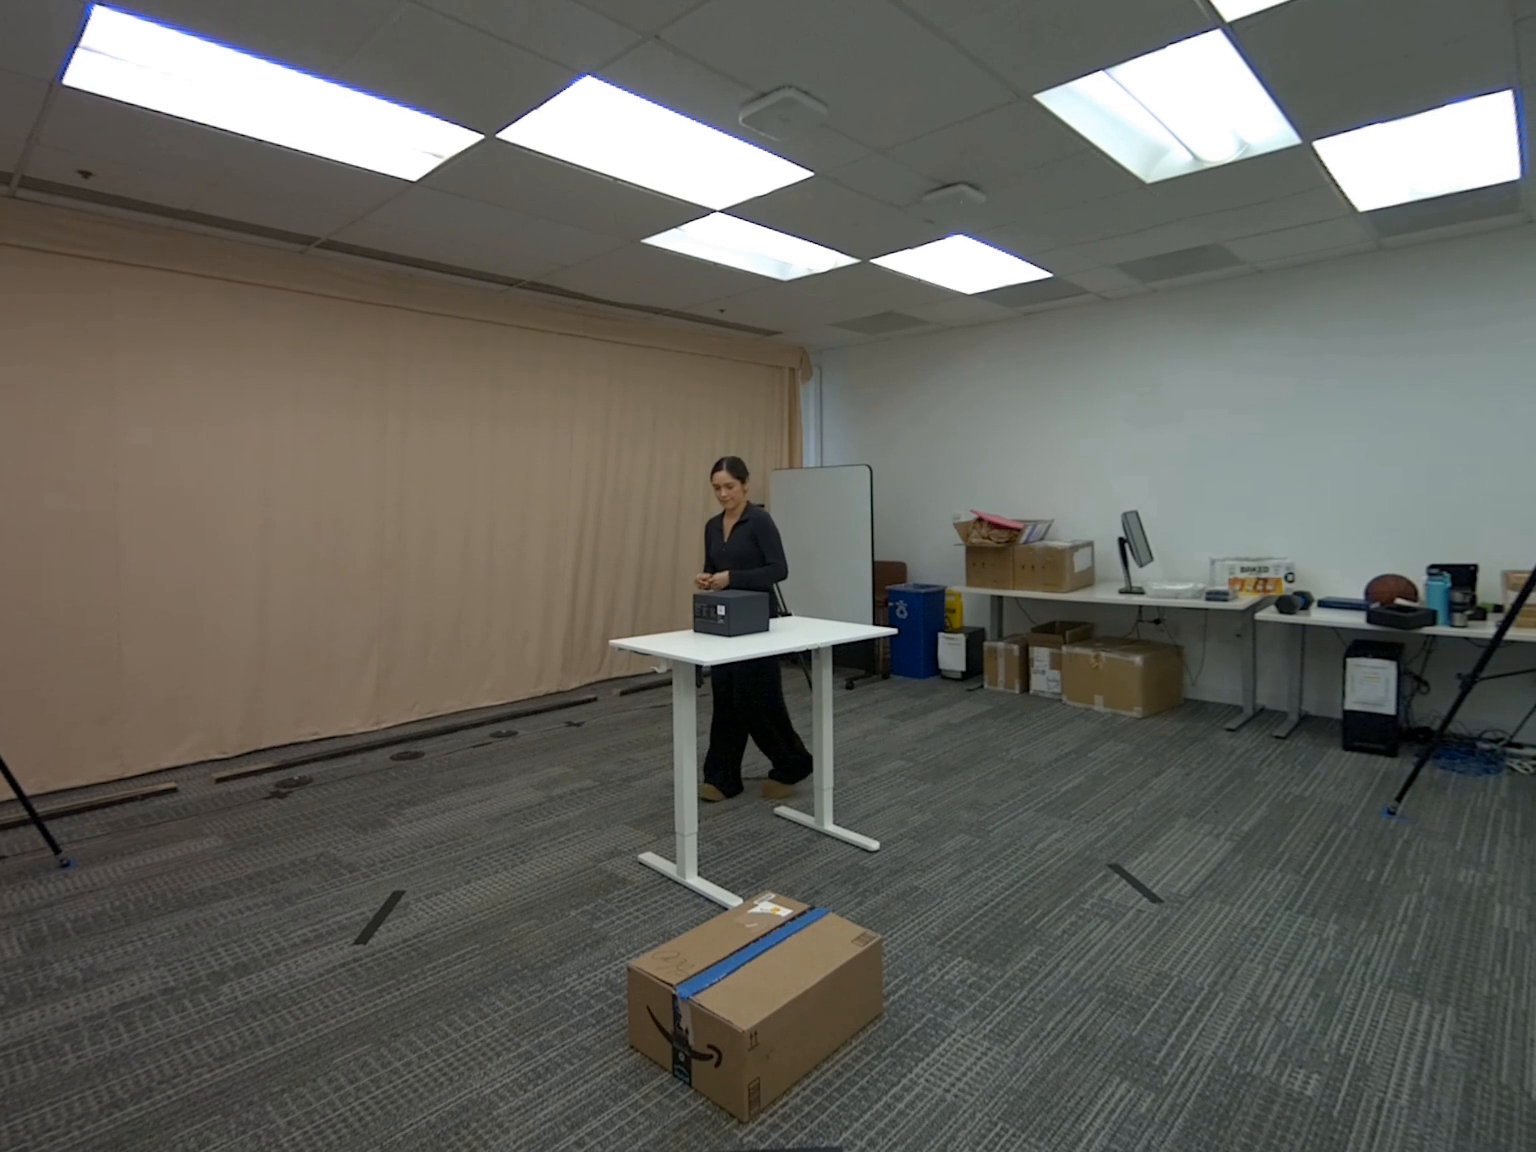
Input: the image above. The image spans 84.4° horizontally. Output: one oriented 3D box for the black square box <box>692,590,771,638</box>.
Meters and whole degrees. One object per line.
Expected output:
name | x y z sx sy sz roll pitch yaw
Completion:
black square box | -0.147 0.146 3.393 0.221 0.155 0.224 -5 6 -44
